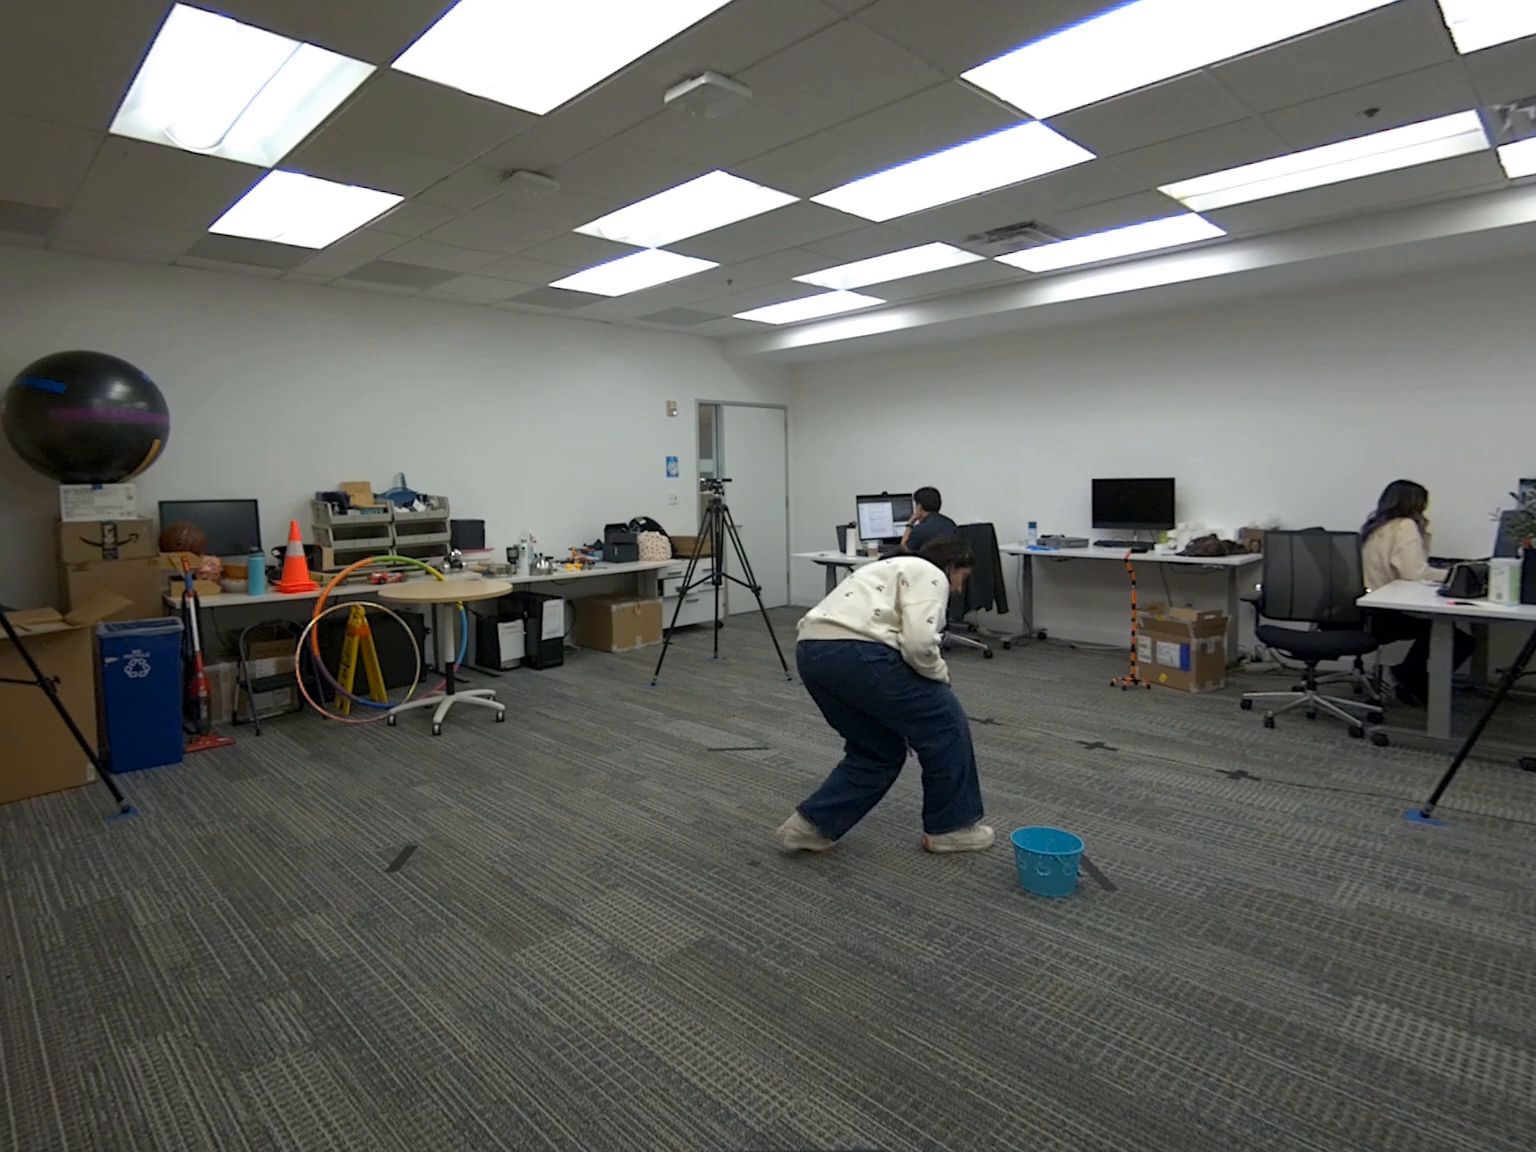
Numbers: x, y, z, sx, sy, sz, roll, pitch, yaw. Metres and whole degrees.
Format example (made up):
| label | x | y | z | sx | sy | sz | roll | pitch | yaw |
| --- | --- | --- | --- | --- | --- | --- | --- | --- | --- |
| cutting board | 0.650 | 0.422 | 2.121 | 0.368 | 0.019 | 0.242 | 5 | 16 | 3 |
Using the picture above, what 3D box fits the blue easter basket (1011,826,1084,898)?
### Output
| label | x | y | z | sx | sy | sz | roll | pitch | yaw |
| --- | --- | --- | --- | --- | --- | --- | --- | --- | --- |
| blue easter basket | 0.959 | 0.972 | 2.901 | 0.243 | 0.155 | 0.245 | -2 | 6 | -2 |
